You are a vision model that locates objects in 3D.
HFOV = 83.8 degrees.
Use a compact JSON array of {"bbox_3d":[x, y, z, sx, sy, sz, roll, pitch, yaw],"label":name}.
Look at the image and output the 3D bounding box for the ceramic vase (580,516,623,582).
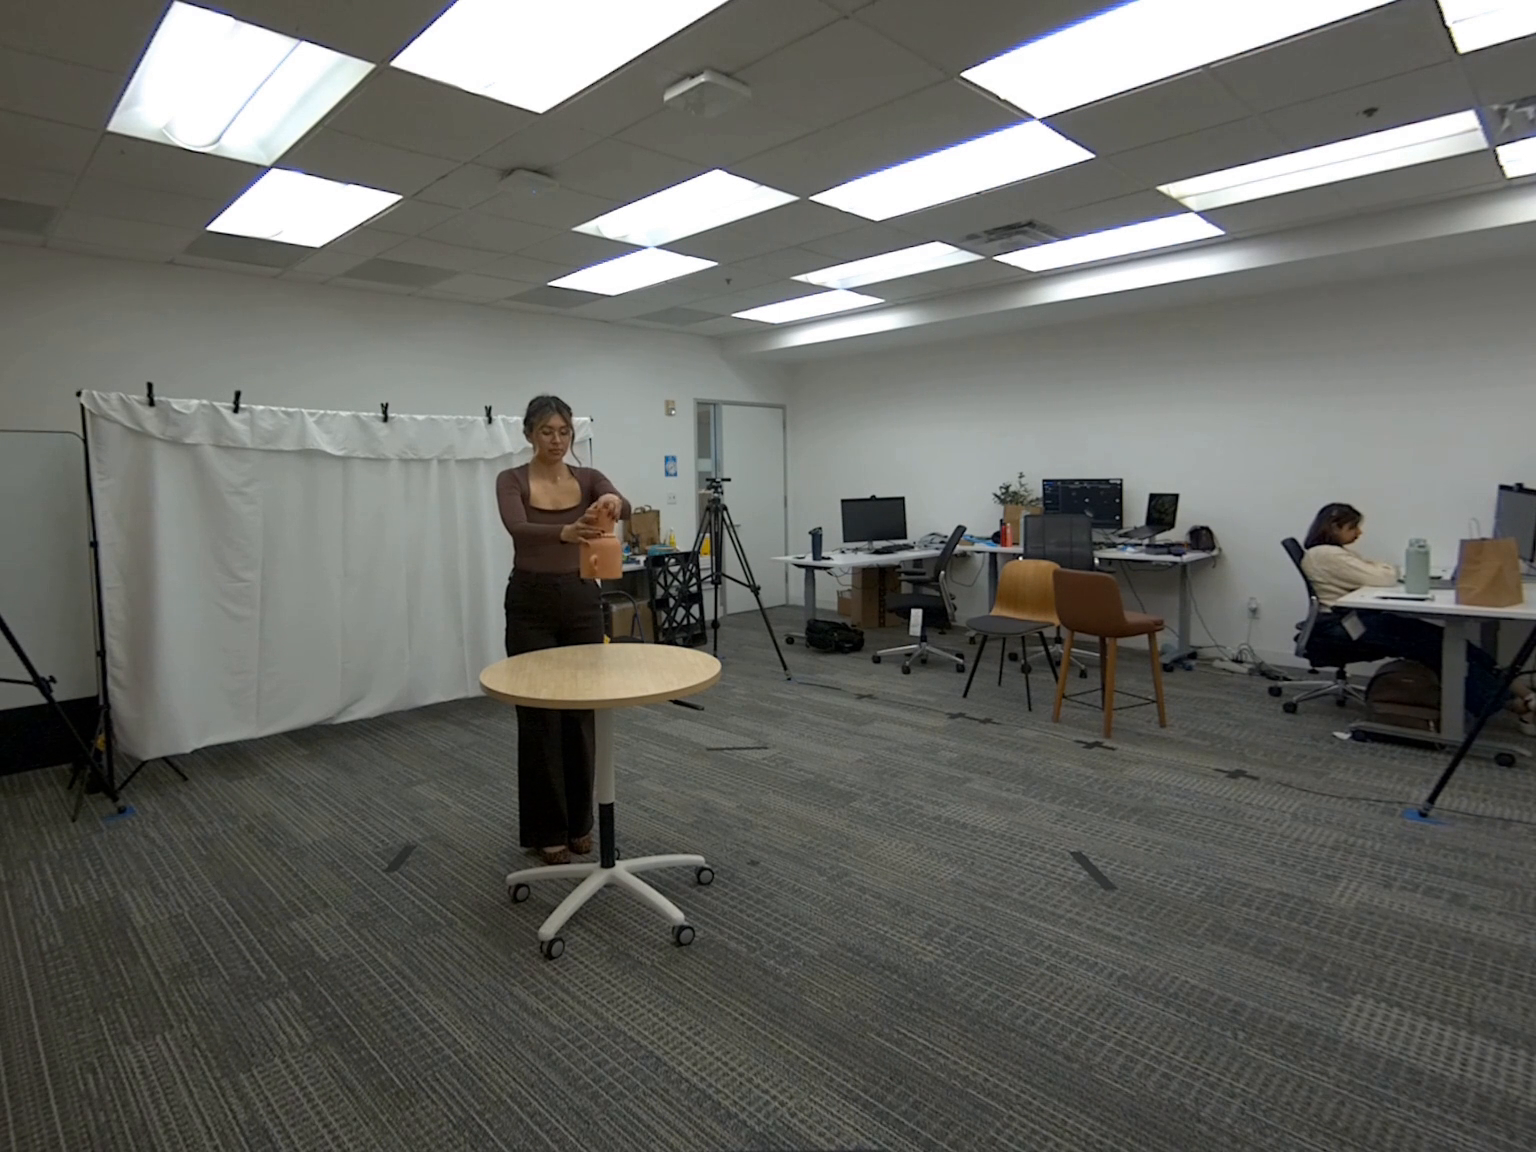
[{"bbox_3d":[-0.531,-0.106,2.743,0.131,0.220,0.163,0,-1,-33],"label":"ceramic vase"}]
